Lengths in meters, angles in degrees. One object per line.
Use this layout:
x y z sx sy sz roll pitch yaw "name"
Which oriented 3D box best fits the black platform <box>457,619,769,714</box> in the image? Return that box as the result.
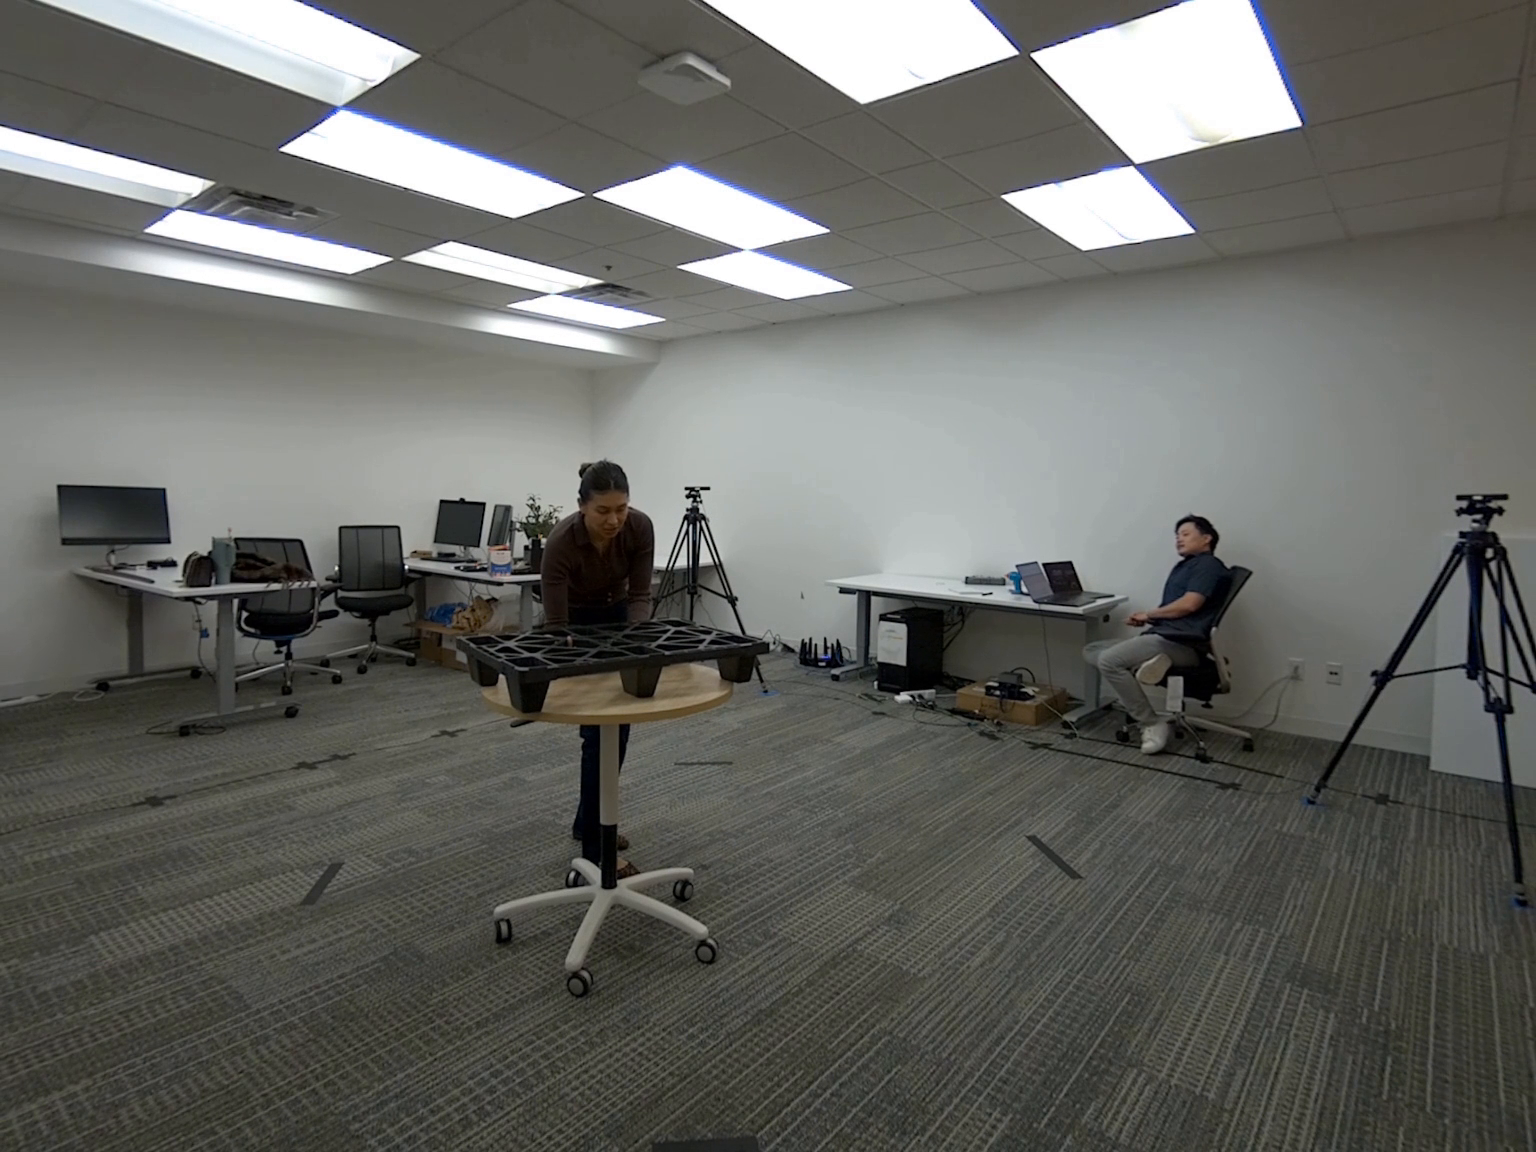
-0.496 0.261 2.624 0.783 0.143 0.624 -4 7 -34 "black platform"
